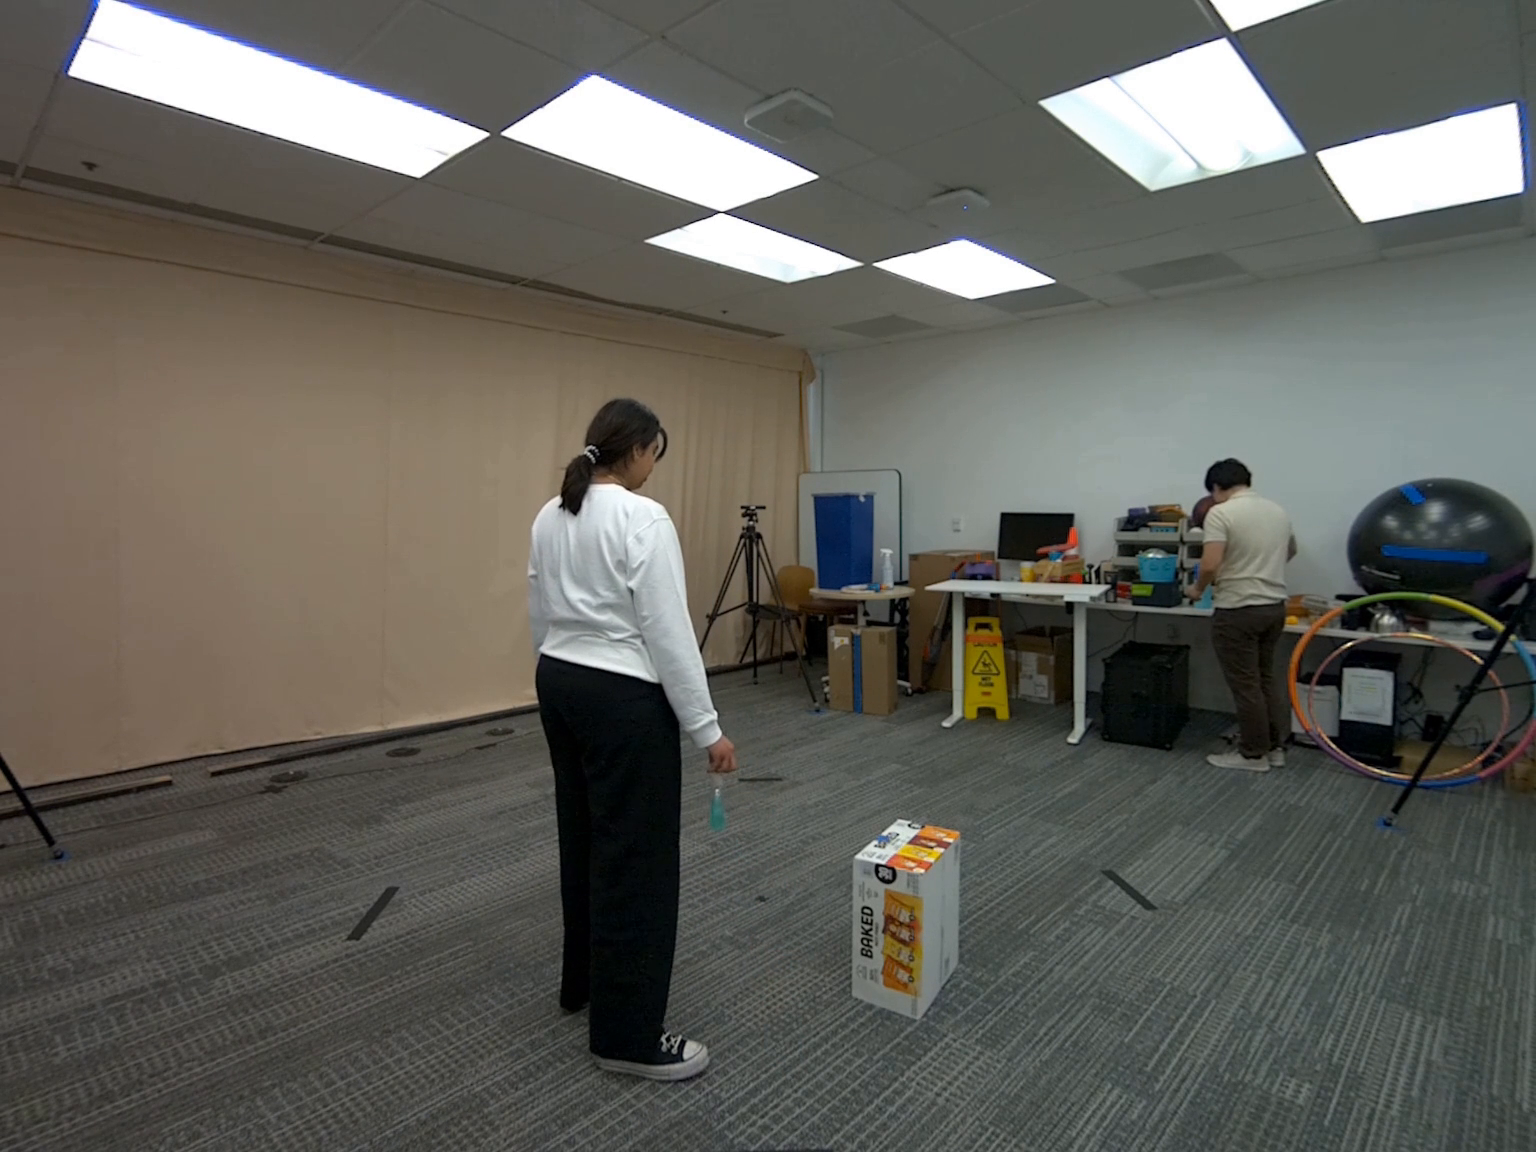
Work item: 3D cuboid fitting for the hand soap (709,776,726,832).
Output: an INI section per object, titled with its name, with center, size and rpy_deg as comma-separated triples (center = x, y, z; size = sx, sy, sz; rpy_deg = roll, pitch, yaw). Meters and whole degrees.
[hand soap]
center = -0.115, 0.561, 2.162
size = 0.043, 0.167, 0.085
rpy_deg = 3, 12, -2
